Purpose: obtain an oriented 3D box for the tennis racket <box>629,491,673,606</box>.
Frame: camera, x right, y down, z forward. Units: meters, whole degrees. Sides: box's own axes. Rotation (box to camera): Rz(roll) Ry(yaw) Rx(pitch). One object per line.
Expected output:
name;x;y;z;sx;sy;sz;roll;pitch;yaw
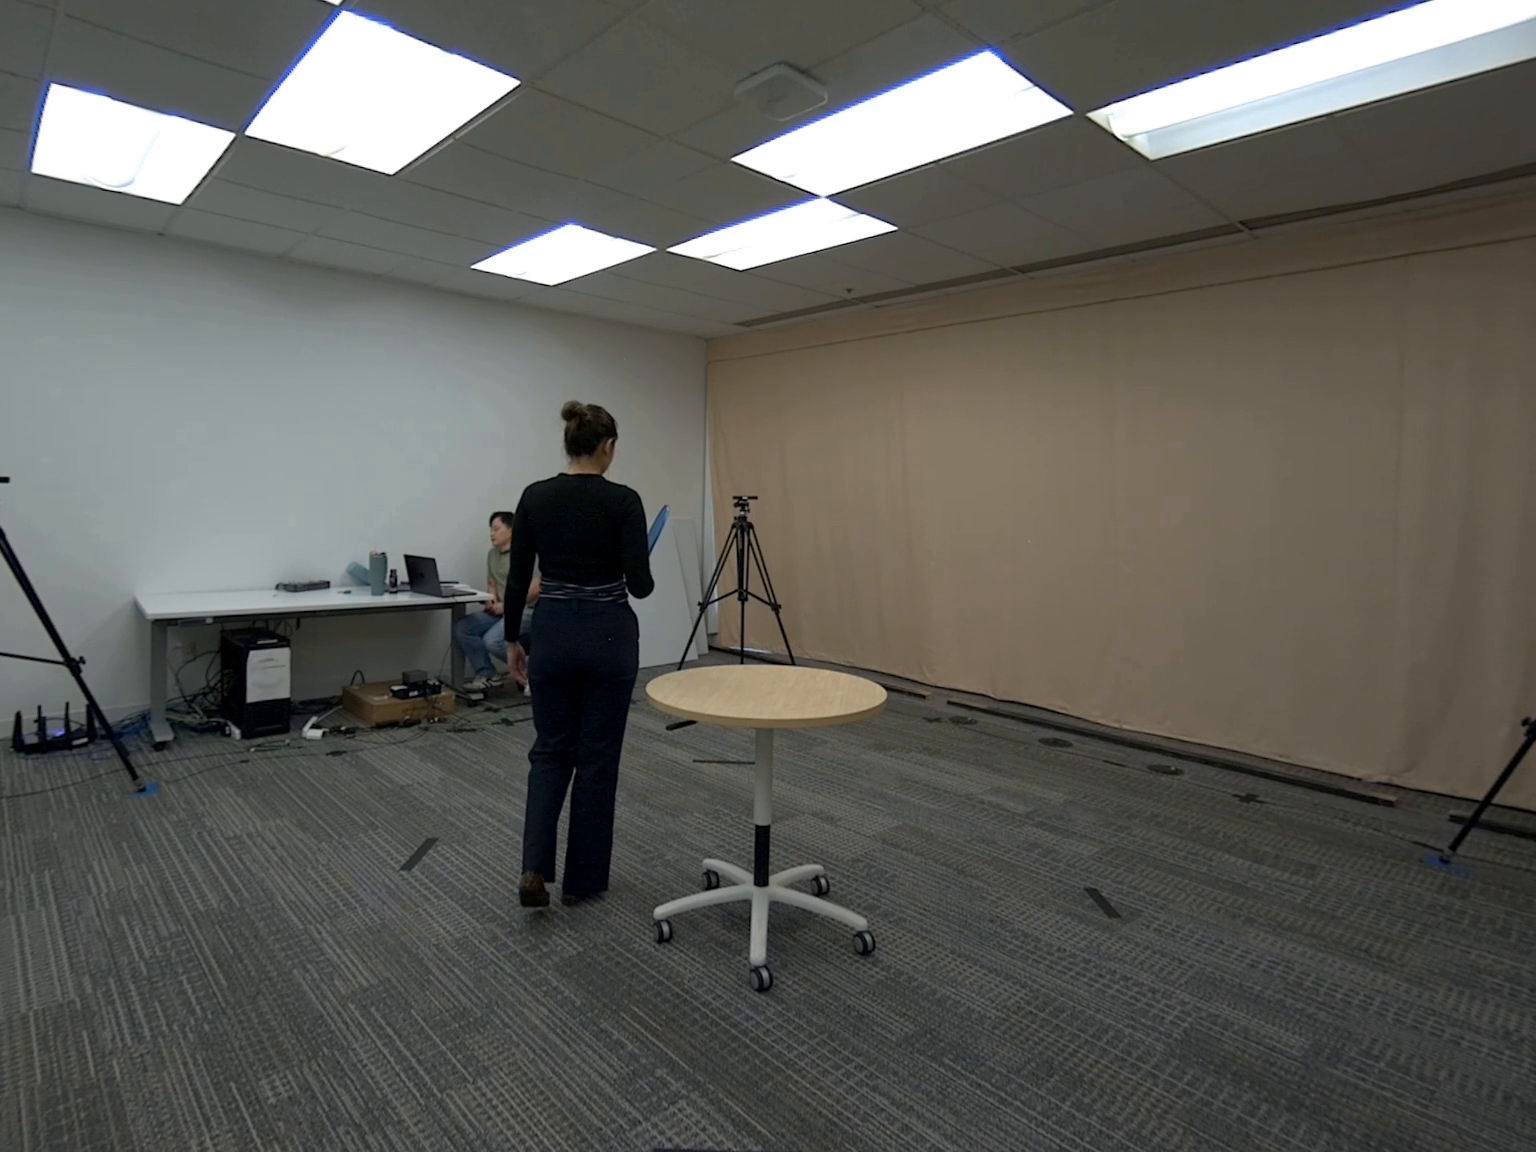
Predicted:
tennis racket;-0.454;-0.113;3.215;0.031;0.212;0.441;23;40;-14
